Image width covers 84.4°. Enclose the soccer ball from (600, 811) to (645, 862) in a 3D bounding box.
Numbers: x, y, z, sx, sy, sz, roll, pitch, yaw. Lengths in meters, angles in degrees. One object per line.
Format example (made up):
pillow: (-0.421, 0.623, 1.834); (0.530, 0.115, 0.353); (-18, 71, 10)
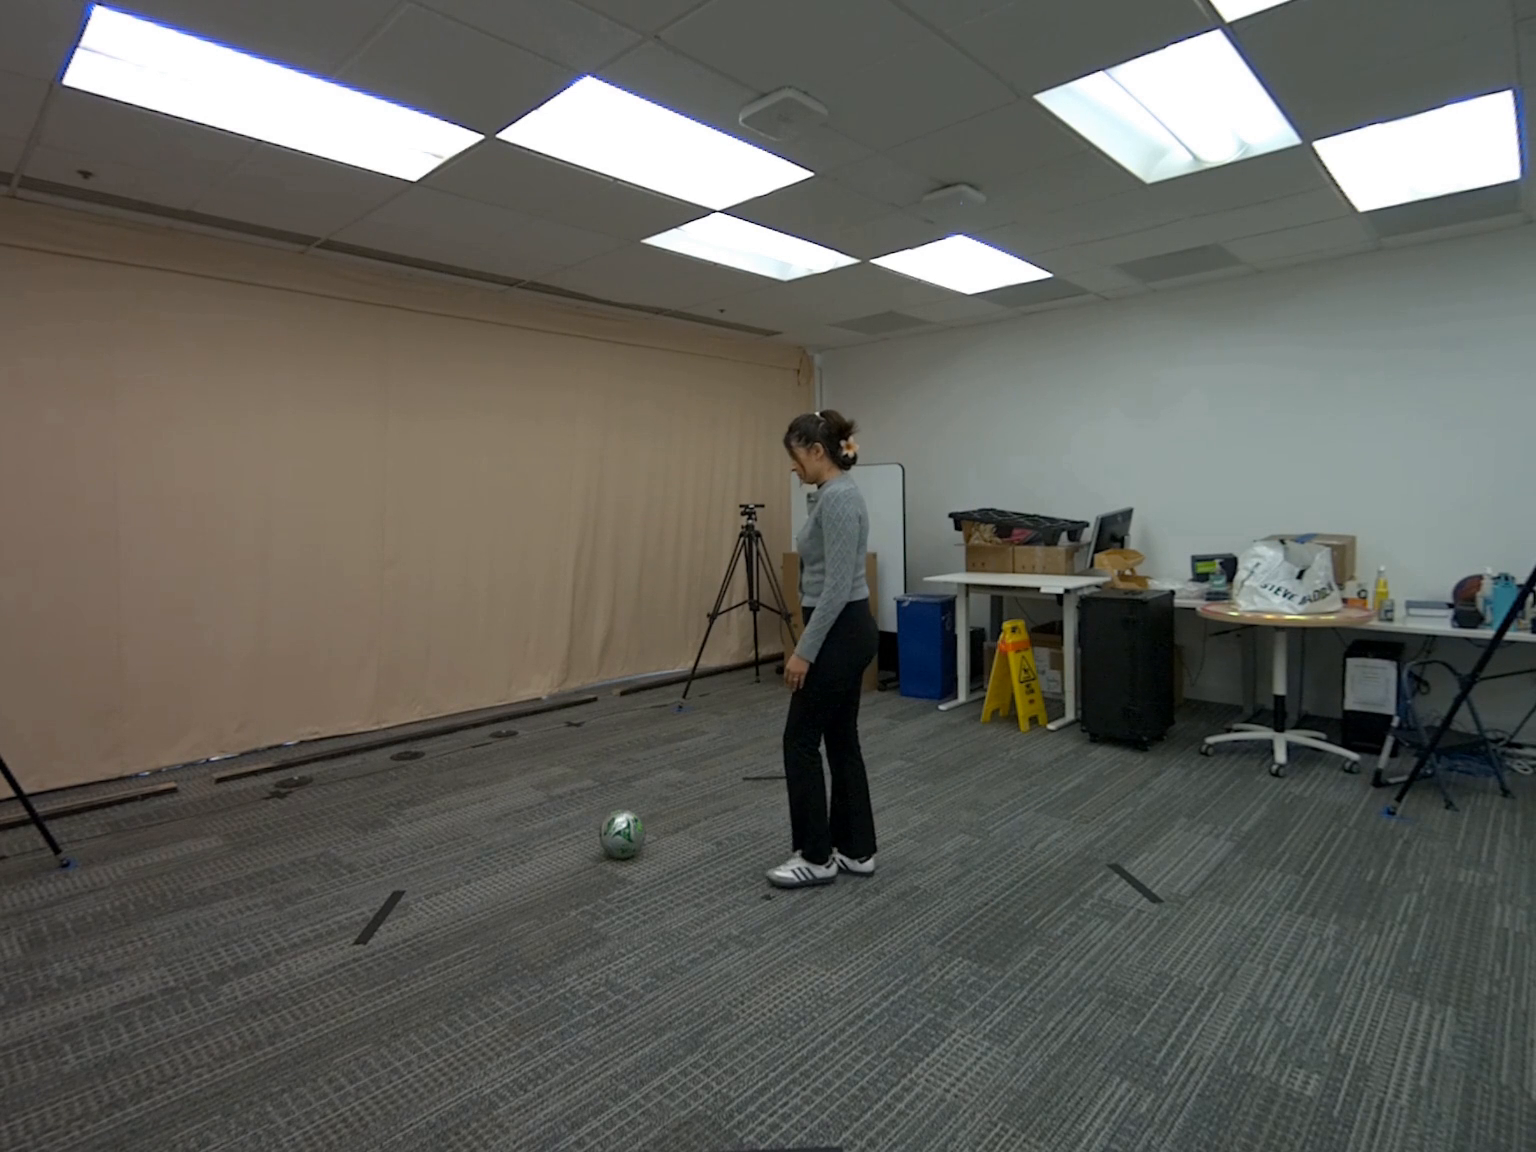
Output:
soccer ball: (-0.582, 1.030, 3.354); (0.187, 0.187, 0.188); (-1, 4, -2)
